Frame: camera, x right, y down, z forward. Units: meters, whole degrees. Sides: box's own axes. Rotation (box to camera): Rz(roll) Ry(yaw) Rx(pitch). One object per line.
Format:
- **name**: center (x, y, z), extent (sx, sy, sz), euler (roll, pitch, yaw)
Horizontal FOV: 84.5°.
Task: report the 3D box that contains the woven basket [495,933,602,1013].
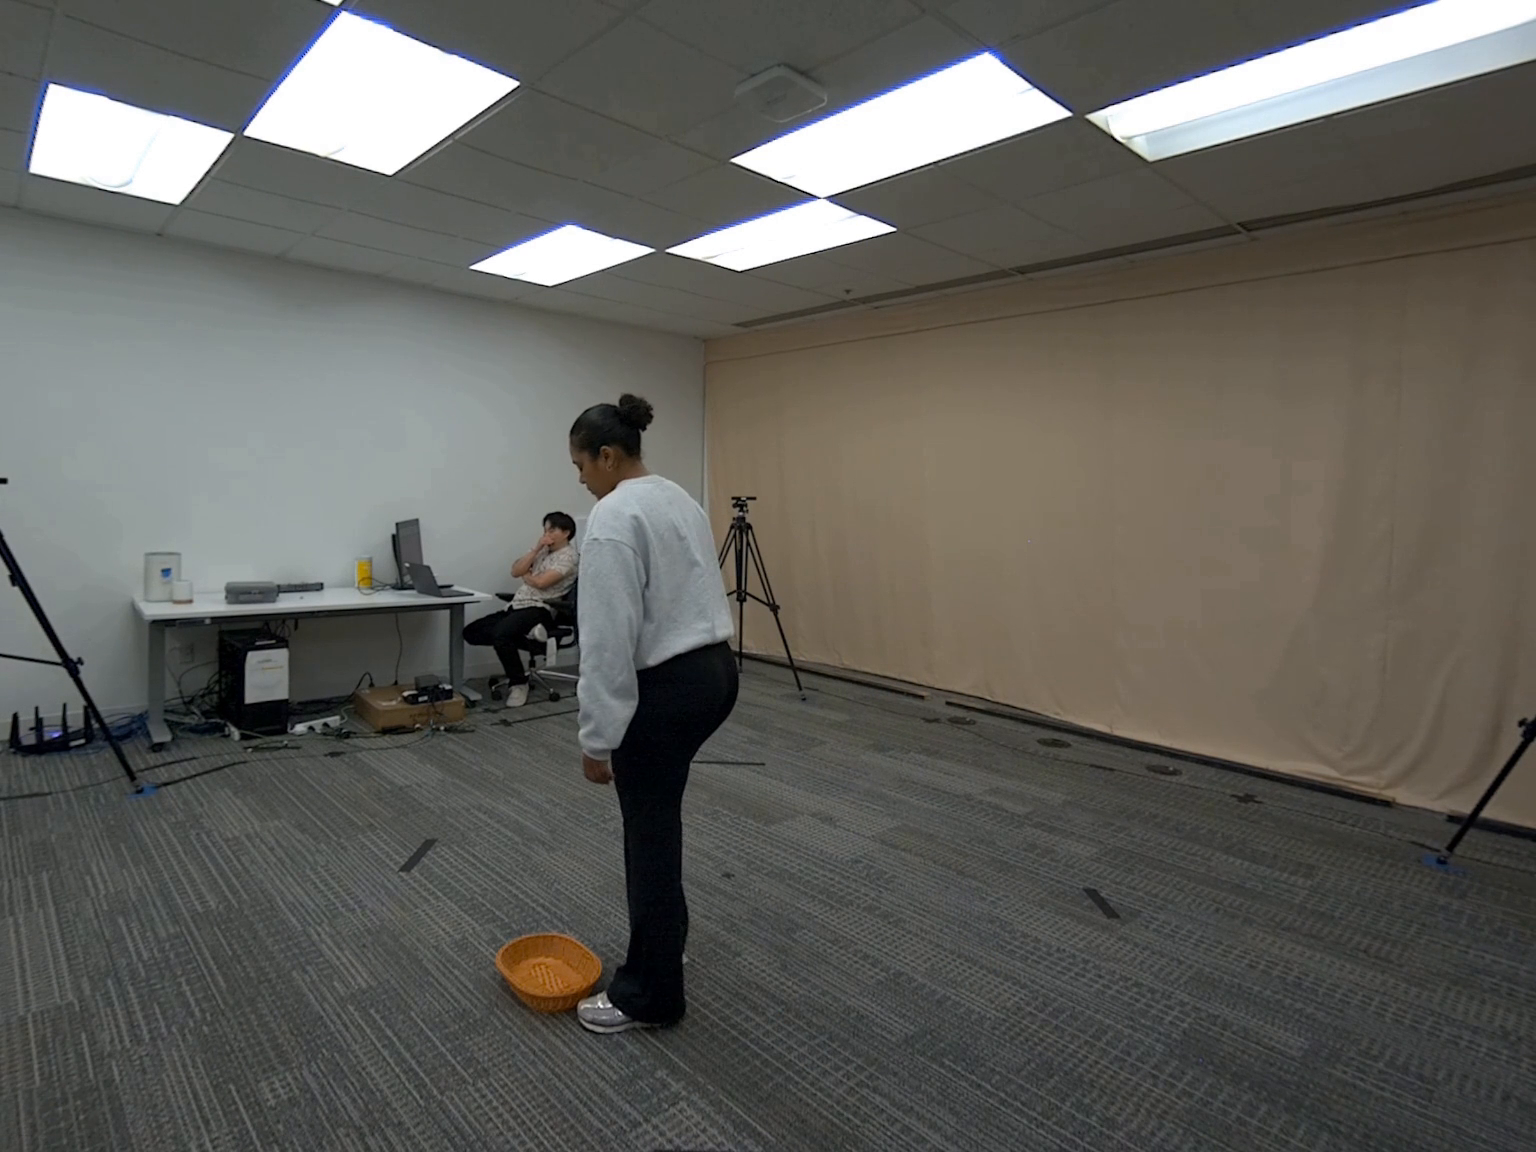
- **woven basket**: center (-0.625, 1.127, 2.387), extent (0.247, 0.073, 0.359), euler (-1, 6, -38)
